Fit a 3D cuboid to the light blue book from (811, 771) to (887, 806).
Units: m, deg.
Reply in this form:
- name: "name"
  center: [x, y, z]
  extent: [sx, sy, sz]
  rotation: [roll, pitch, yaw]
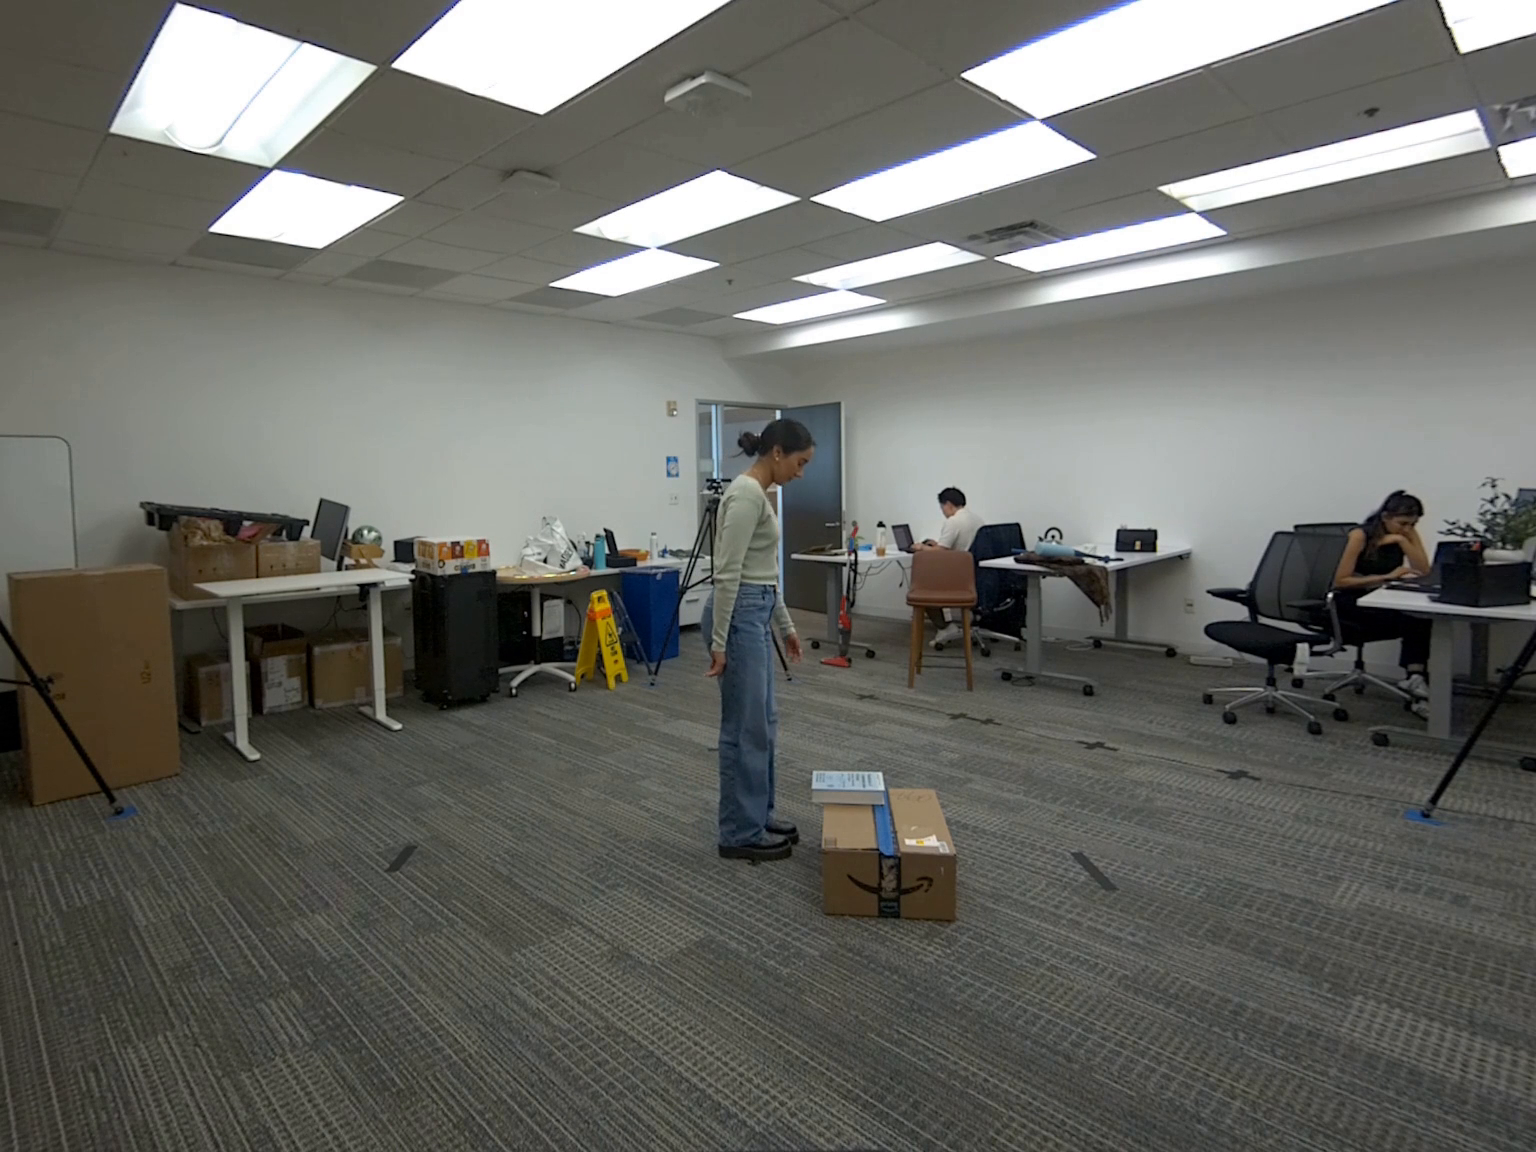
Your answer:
- name: "light blue book"
  center: [0.294, 0.779, 3.172]
  extent: [0.263, 0.059, 0.191]
  rotation: [-1, 7, 7]
